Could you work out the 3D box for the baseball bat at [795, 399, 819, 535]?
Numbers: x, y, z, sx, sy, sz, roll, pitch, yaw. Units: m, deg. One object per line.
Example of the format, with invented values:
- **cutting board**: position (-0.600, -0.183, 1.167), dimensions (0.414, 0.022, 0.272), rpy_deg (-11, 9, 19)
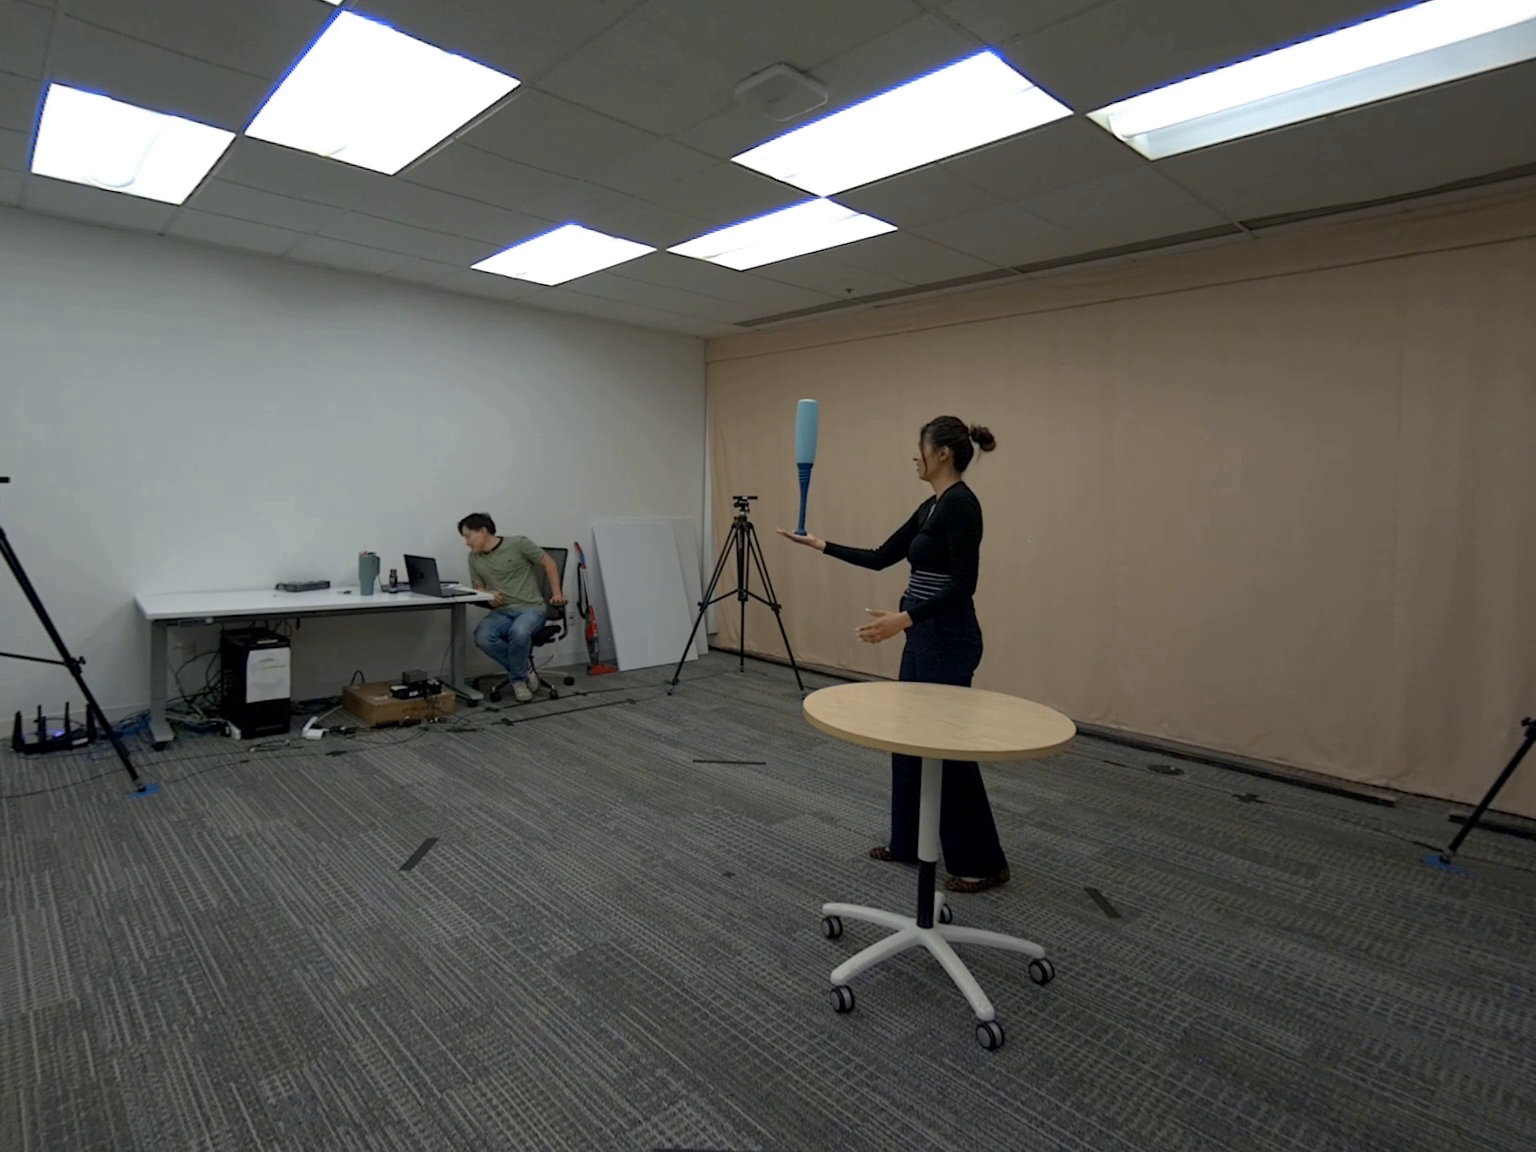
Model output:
- **baseball bat**: position (0.152, -0.426, 3.346), dimensions (0.089, 0.542, 0.089), rpy_deg (3, 3, -2)
